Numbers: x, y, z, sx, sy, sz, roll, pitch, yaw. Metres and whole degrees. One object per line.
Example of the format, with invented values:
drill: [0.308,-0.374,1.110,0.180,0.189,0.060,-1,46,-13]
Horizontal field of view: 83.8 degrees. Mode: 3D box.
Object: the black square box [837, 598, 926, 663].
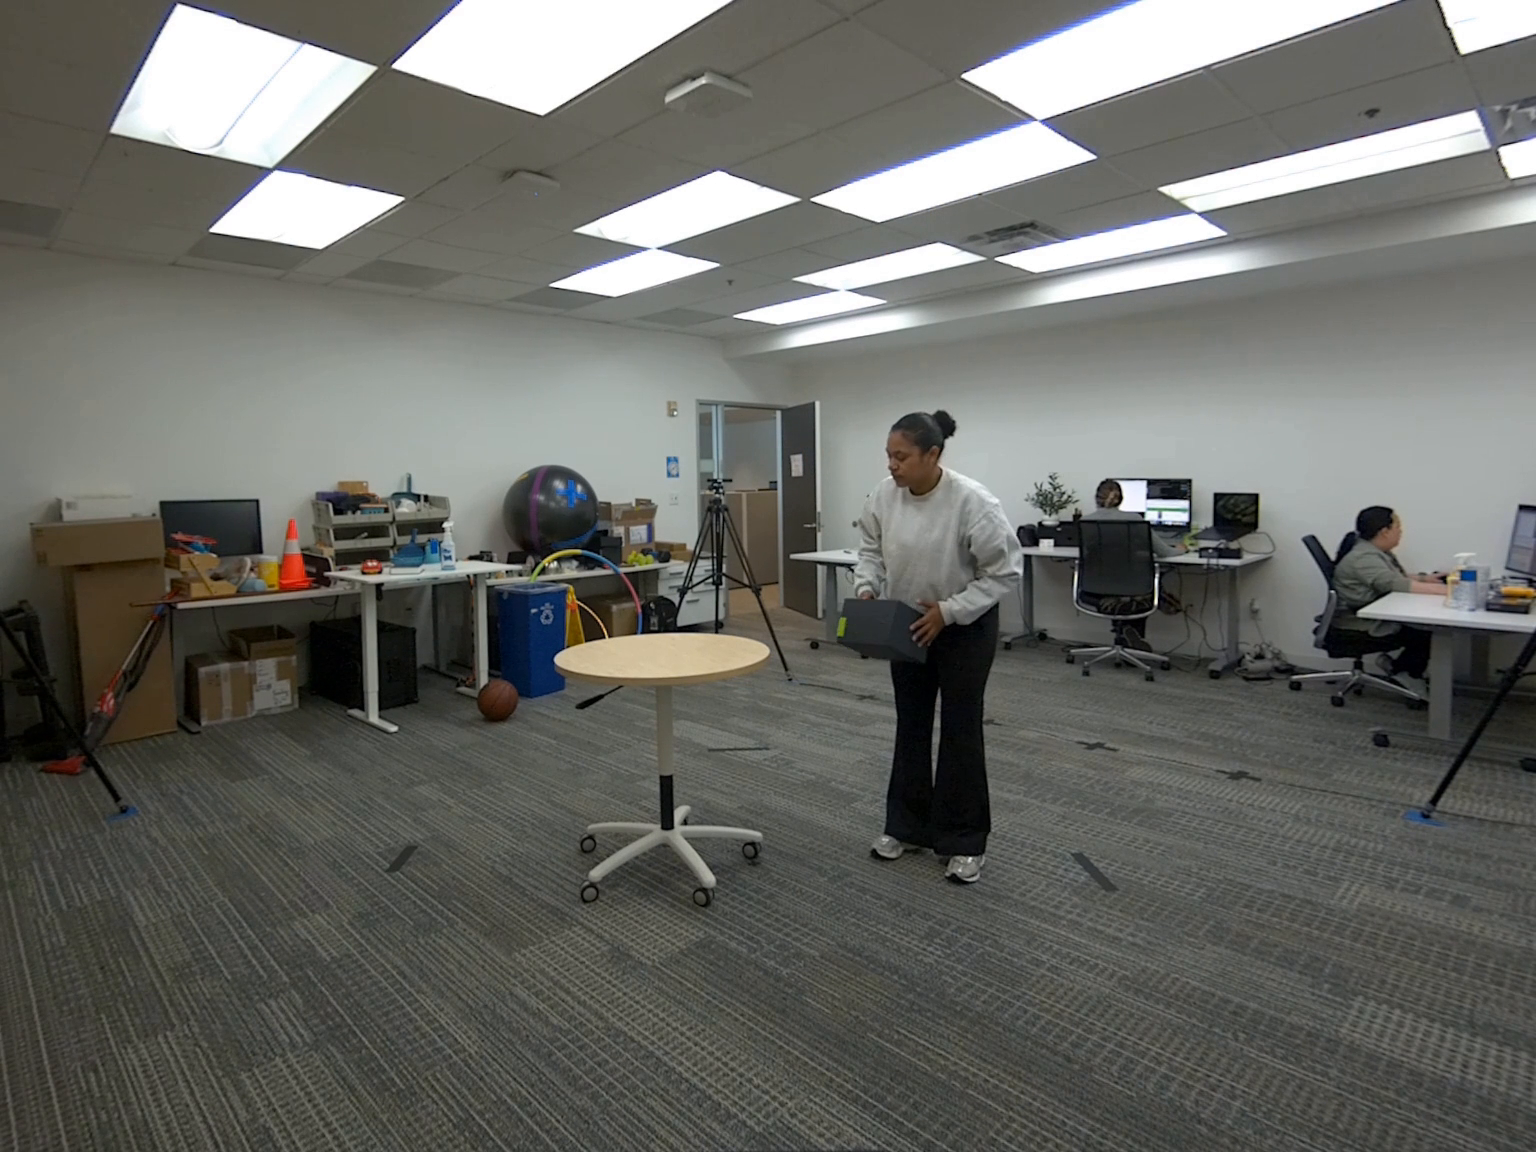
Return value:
black square box: [0.398,0.193,2.883,0.223,0.157,0.219,0,-18,42]
